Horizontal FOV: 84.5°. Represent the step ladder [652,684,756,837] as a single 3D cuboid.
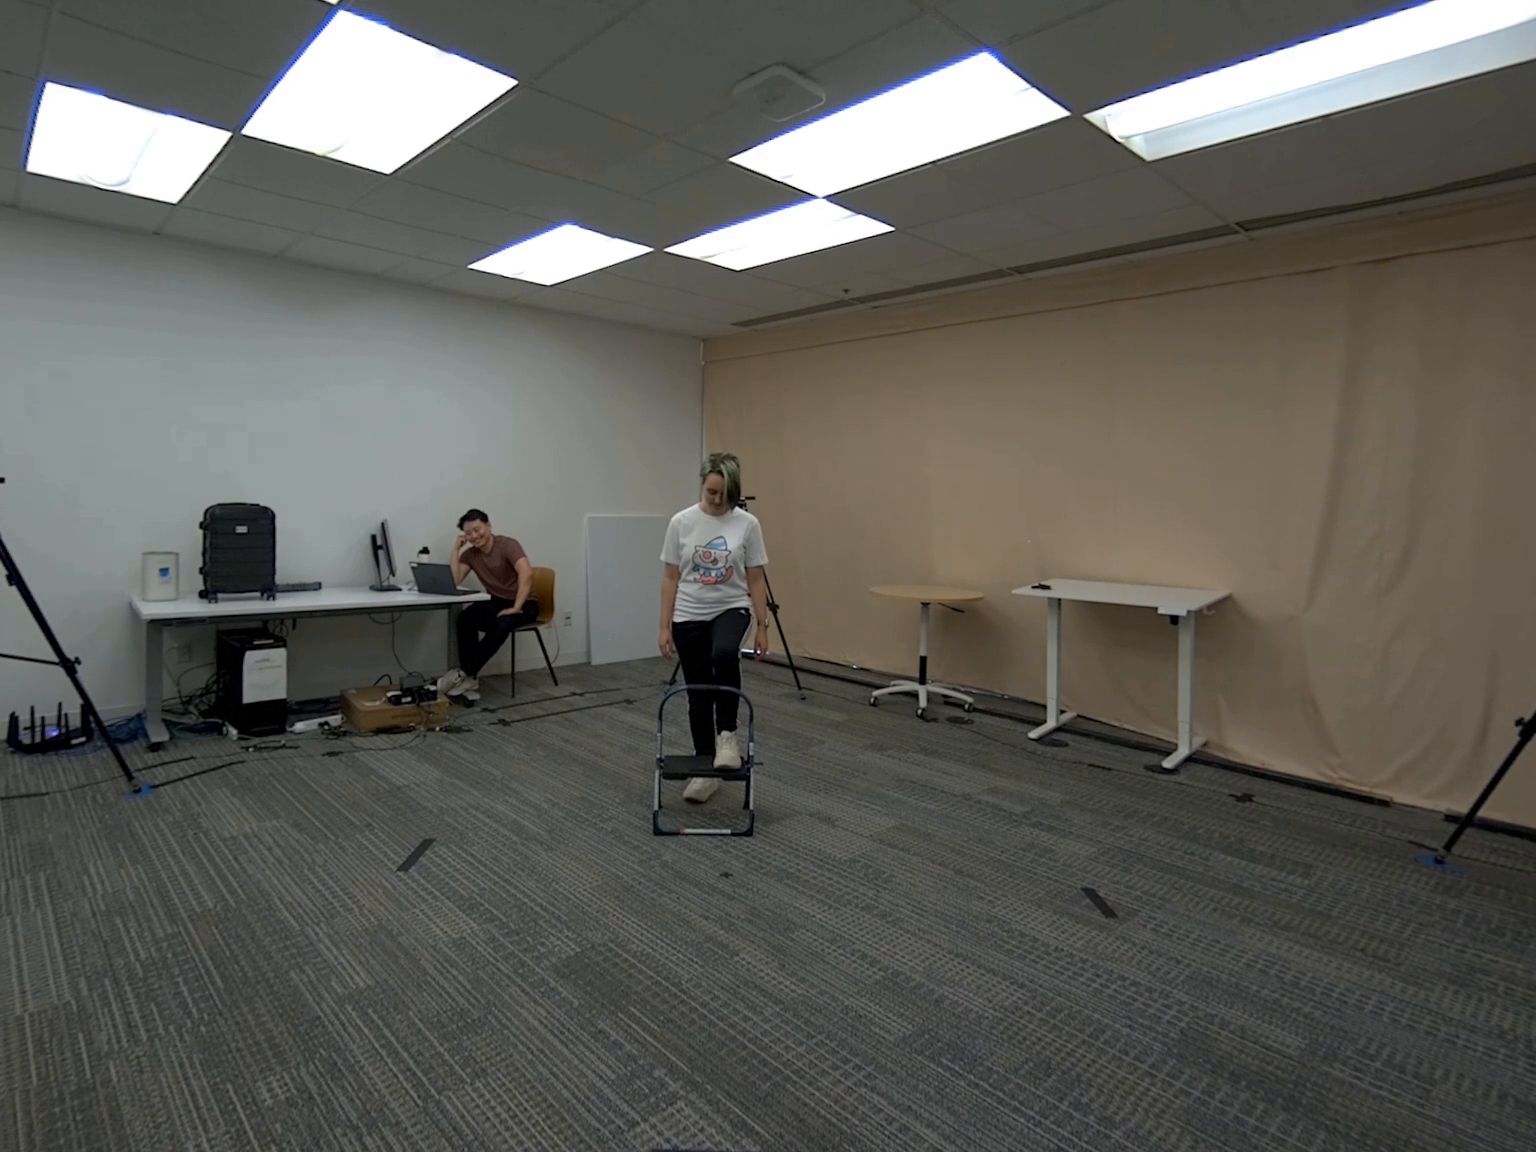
[{"bbox_3d":[-0.284,0.760,3.615,0.429,0.605,0.351,1,3,-5],"label":"step ladder"}]
